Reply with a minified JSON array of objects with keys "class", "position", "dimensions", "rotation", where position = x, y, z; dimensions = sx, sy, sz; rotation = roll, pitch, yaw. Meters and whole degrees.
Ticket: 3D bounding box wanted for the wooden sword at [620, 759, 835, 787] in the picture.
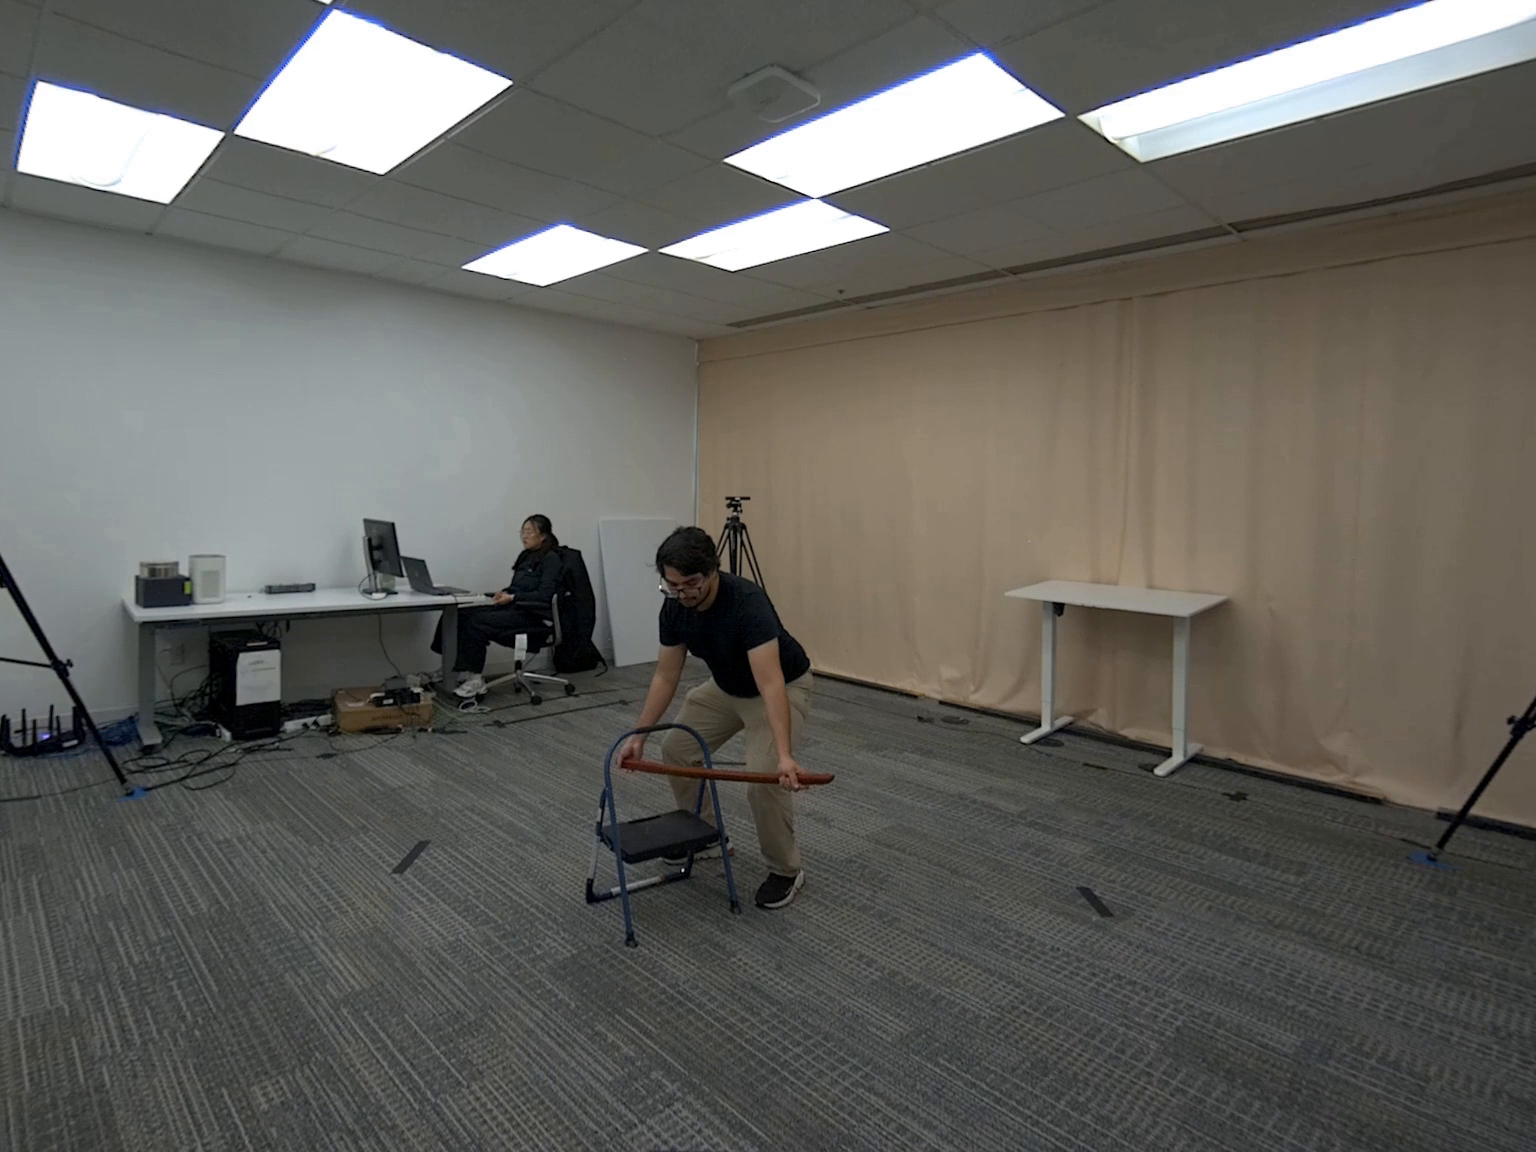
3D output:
[{"class":"wooden sword","position":[-0.167,0.634,2.736],"dimensions":[1.044,0.050,0.024],"rotation":[-10,20,49]}]
